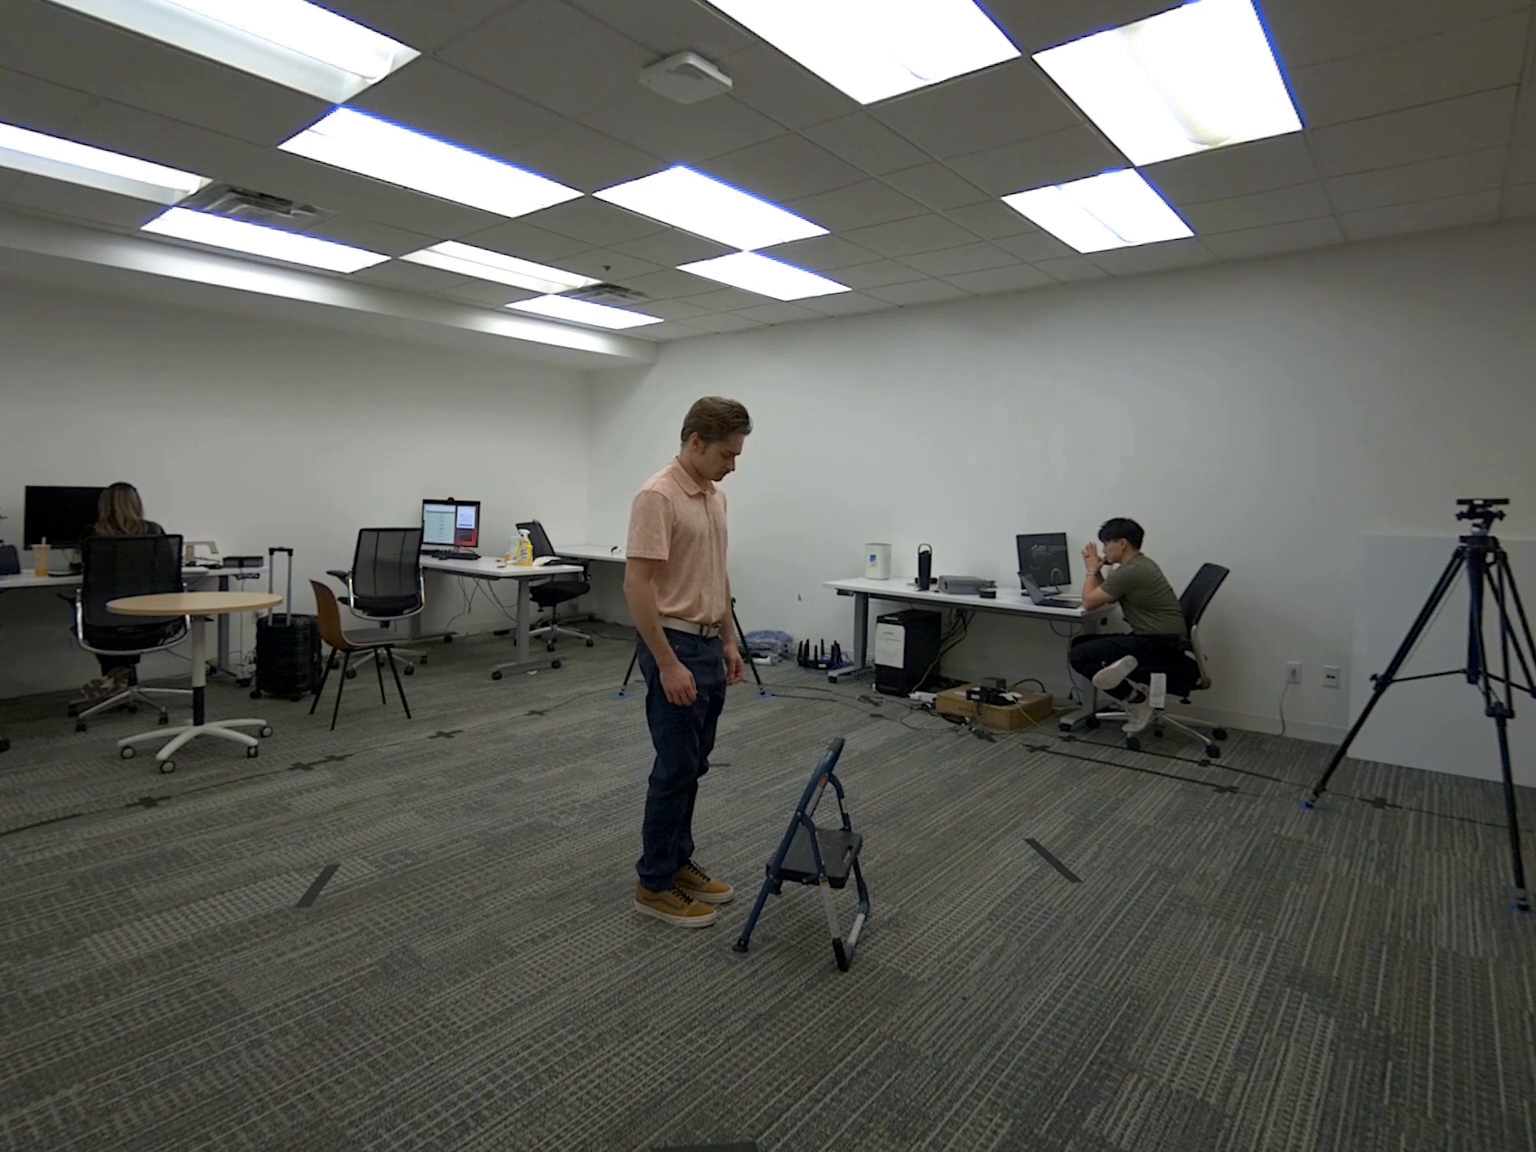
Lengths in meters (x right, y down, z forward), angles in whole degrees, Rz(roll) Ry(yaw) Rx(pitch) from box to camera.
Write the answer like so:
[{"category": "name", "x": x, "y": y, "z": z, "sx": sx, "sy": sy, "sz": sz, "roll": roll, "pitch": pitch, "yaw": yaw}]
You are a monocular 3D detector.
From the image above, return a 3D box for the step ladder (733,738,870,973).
[{"category": "step ladder", "x": 0.123, "y": 0.815, "z": 2.686, "sx": 0.356, "sy": 0.604, "sz": 0.424, "roll": 3, "pitch": 4, "yaw": 17}]
